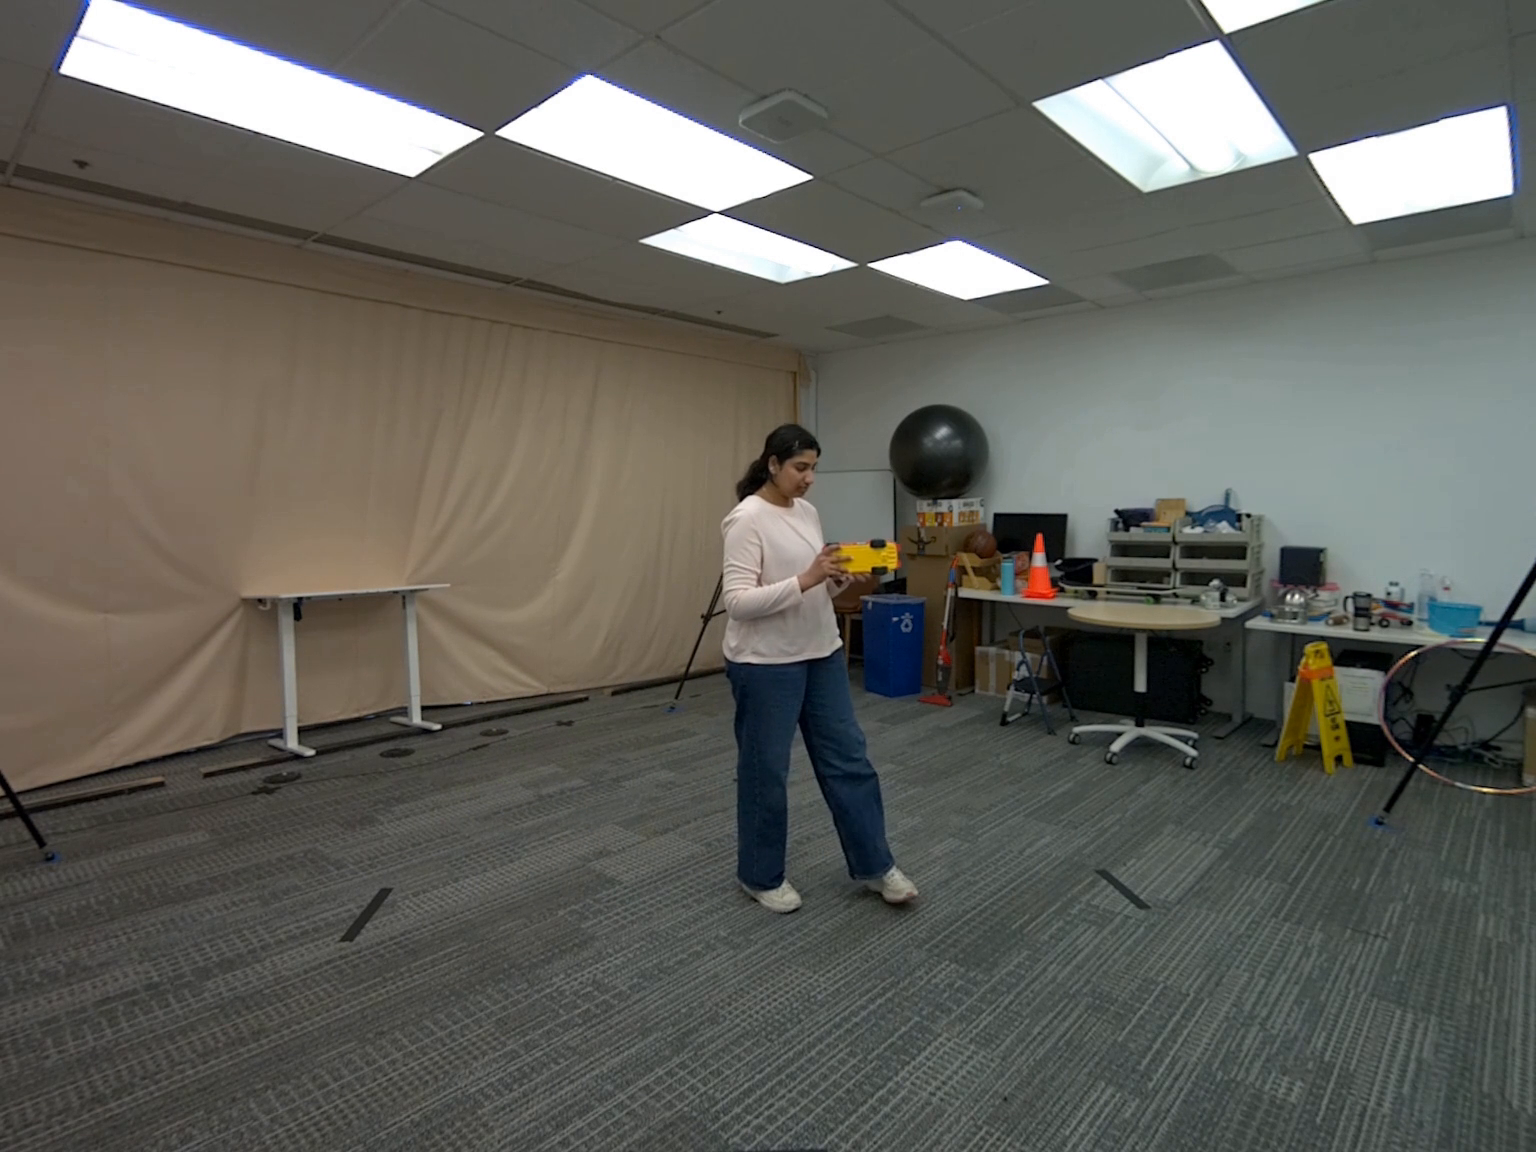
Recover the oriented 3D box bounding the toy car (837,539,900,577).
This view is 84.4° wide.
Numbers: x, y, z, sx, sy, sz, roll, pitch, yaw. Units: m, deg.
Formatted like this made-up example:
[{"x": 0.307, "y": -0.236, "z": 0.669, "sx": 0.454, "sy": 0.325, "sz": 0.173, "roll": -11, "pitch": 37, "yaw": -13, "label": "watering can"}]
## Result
[{"x": 0.304, "y": -0.058, "z": 2.698, "sx": 0.253, "sy": 0.130, "sz": 0.084, "roll": -4, "pitch": 2, "yaw": -7, "label": "toy car"}]
